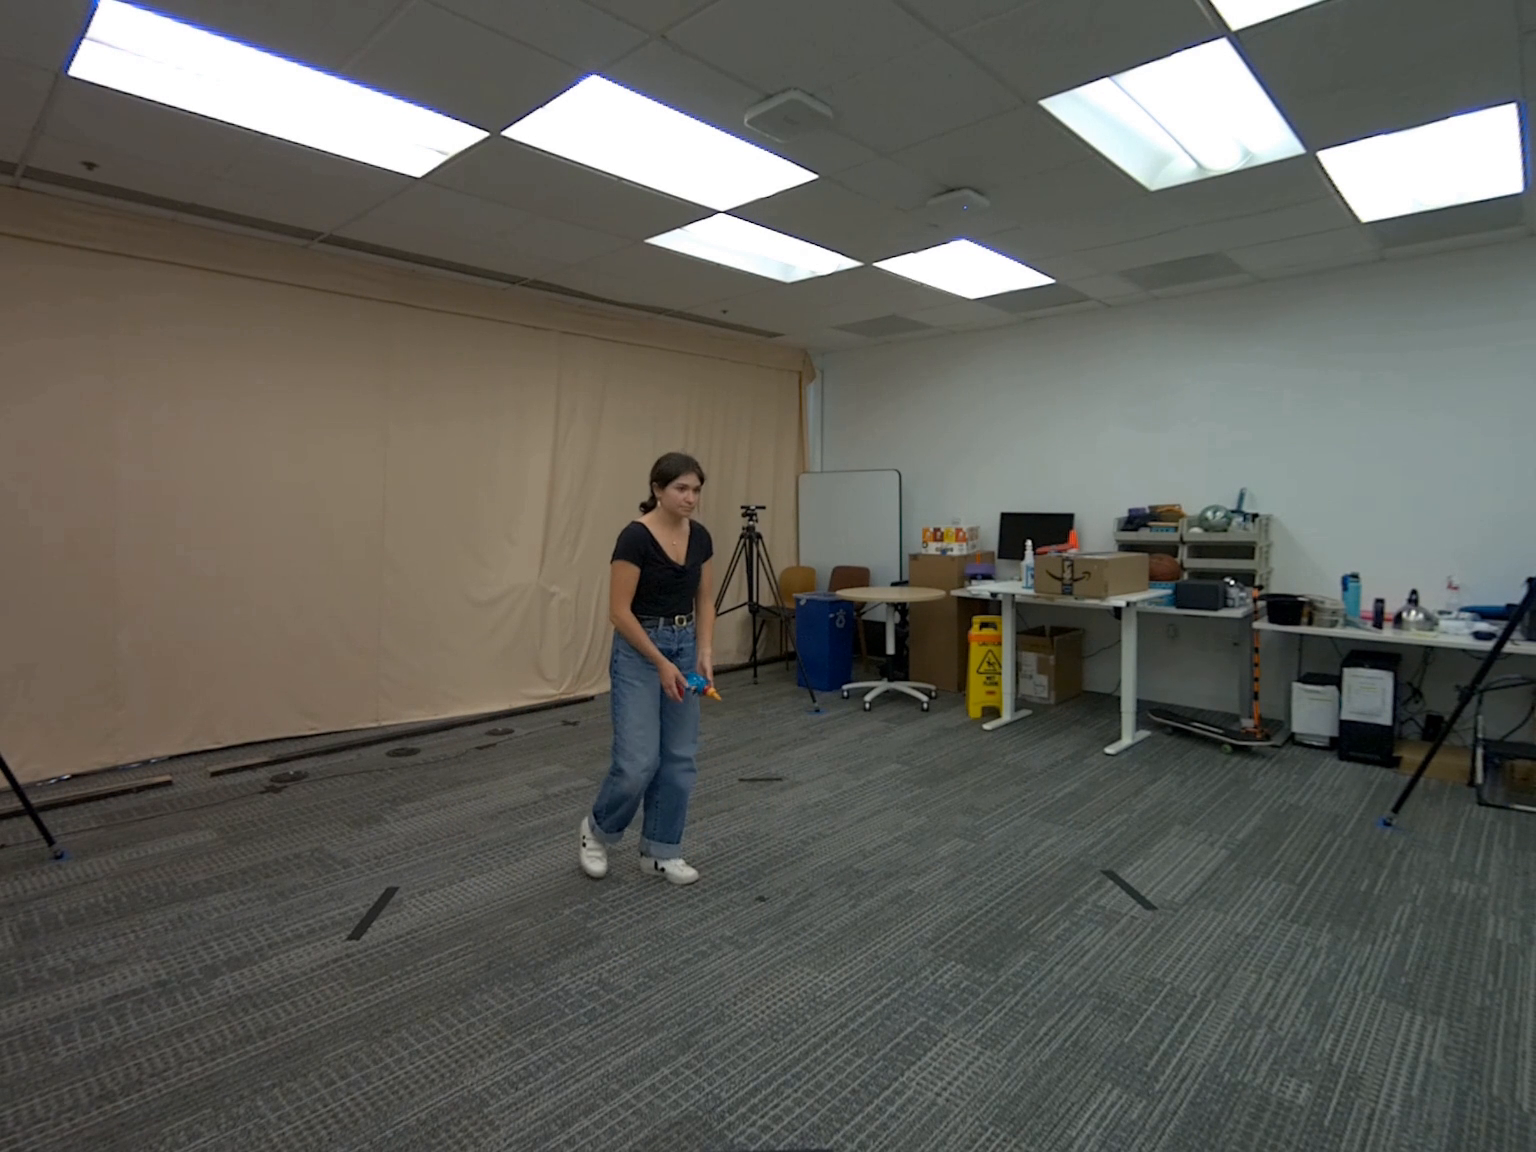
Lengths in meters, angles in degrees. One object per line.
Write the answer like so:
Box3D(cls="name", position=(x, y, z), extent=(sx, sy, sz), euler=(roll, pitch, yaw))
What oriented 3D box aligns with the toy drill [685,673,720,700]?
Box3D(cls="toy drill", position=(-0.236, 0.383, 2.972), extent=(0.175, 0.061, 0.142), euler=(30, 22, 27))
